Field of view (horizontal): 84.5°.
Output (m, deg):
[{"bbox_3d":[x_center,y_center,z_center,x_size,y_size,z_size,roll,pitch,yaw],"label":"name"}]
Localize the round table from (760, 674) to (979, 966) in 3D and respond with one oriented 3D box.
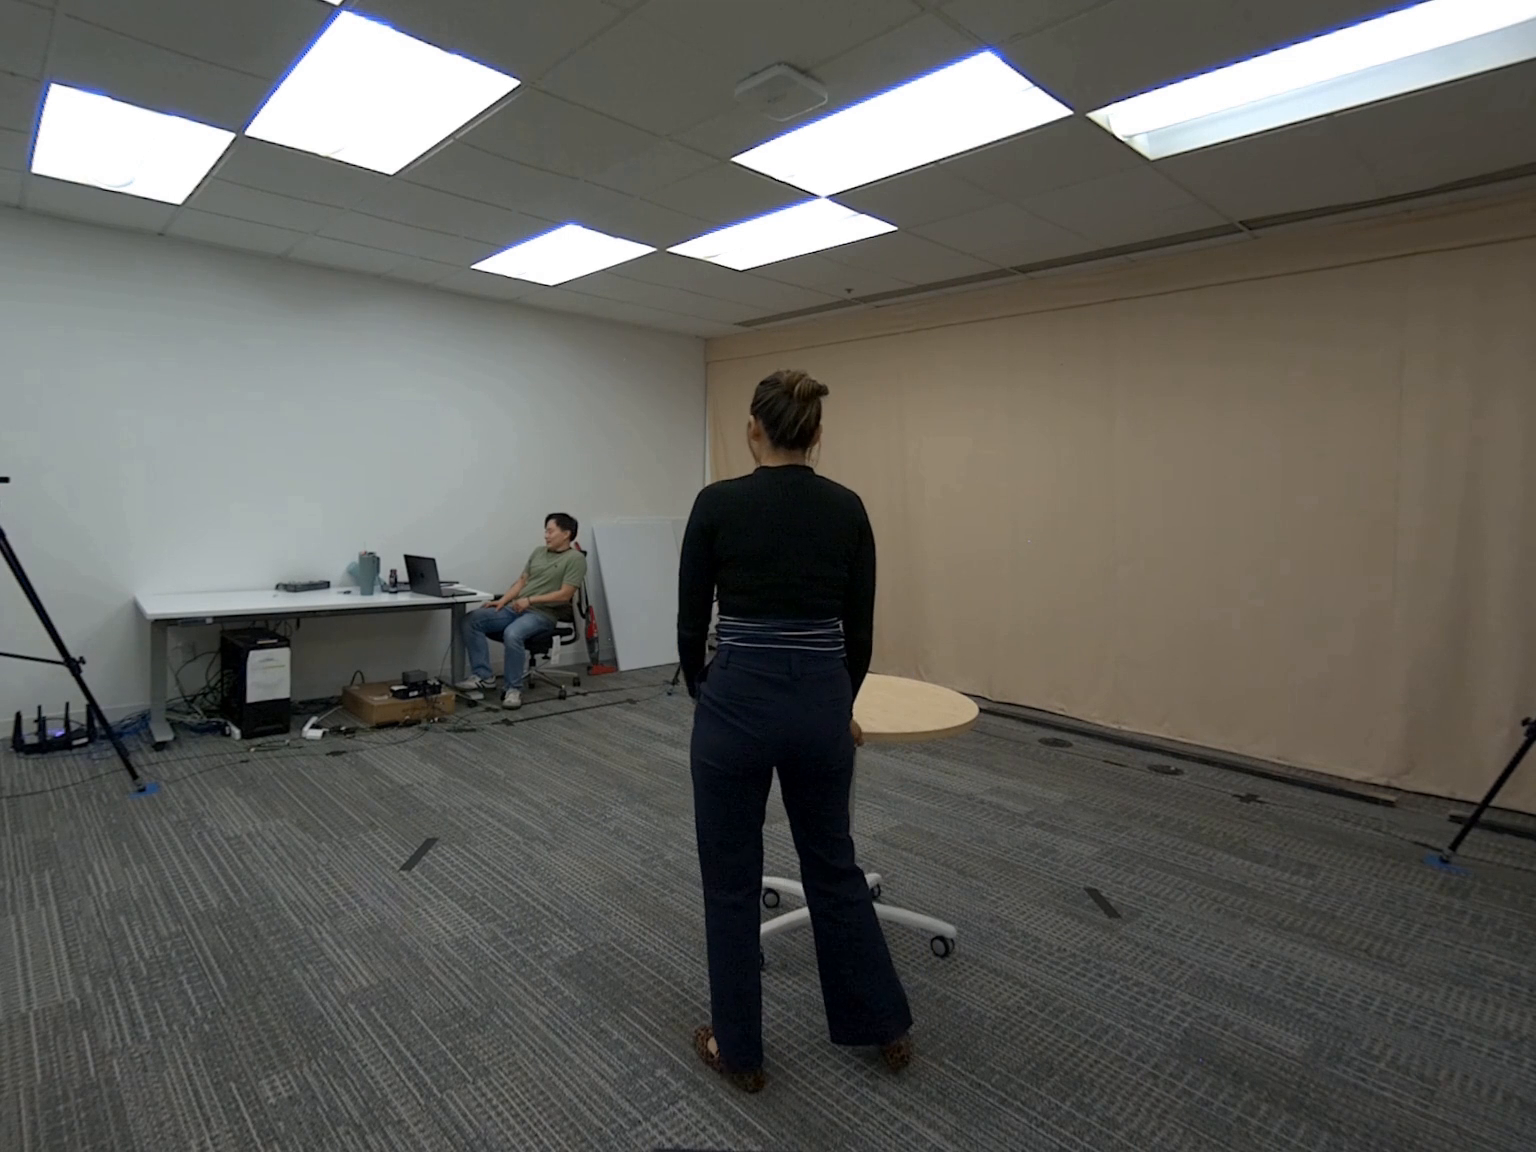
[{"bbox_3d":[0.242,0.770,2.622,0.763,0.791,0.767,2,5,-2],"label":"round table"}]
